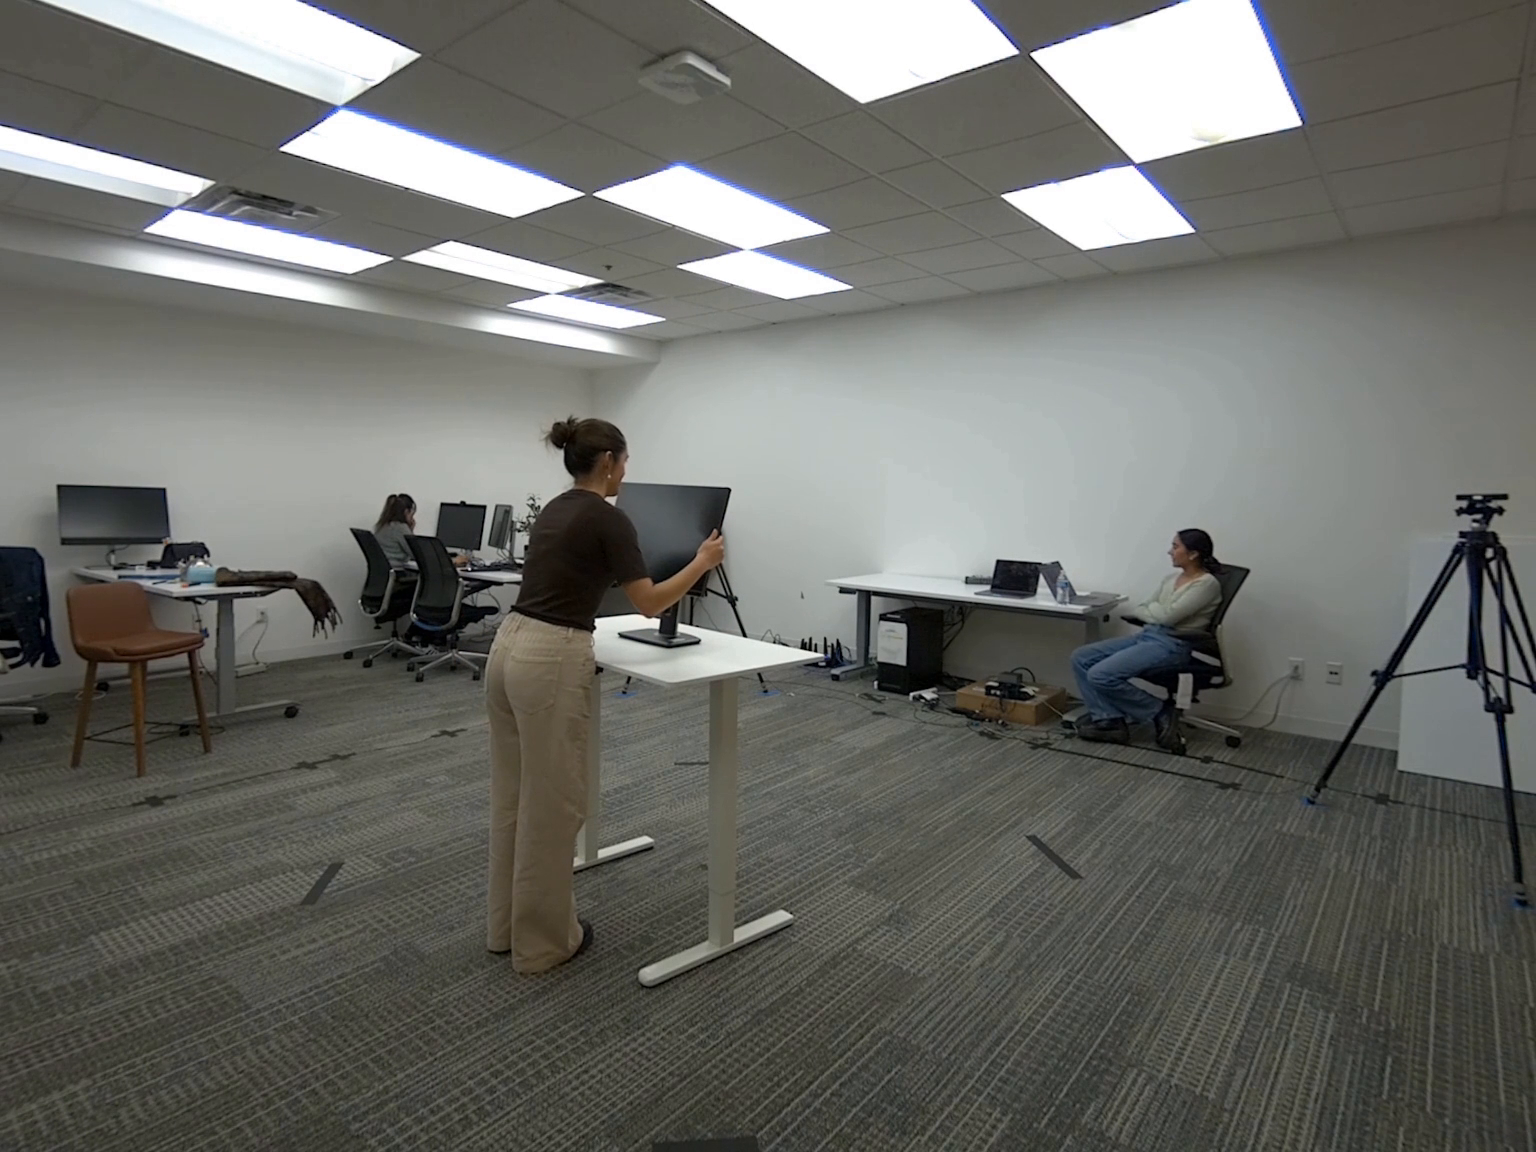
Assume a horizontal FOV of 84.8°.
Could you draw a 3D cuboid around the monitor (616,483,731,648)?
[{"bbox_3d":[-0.354,-0.045,2.821,0.558,0.522,0.181,6,1,40],"label":"monitor"}]
